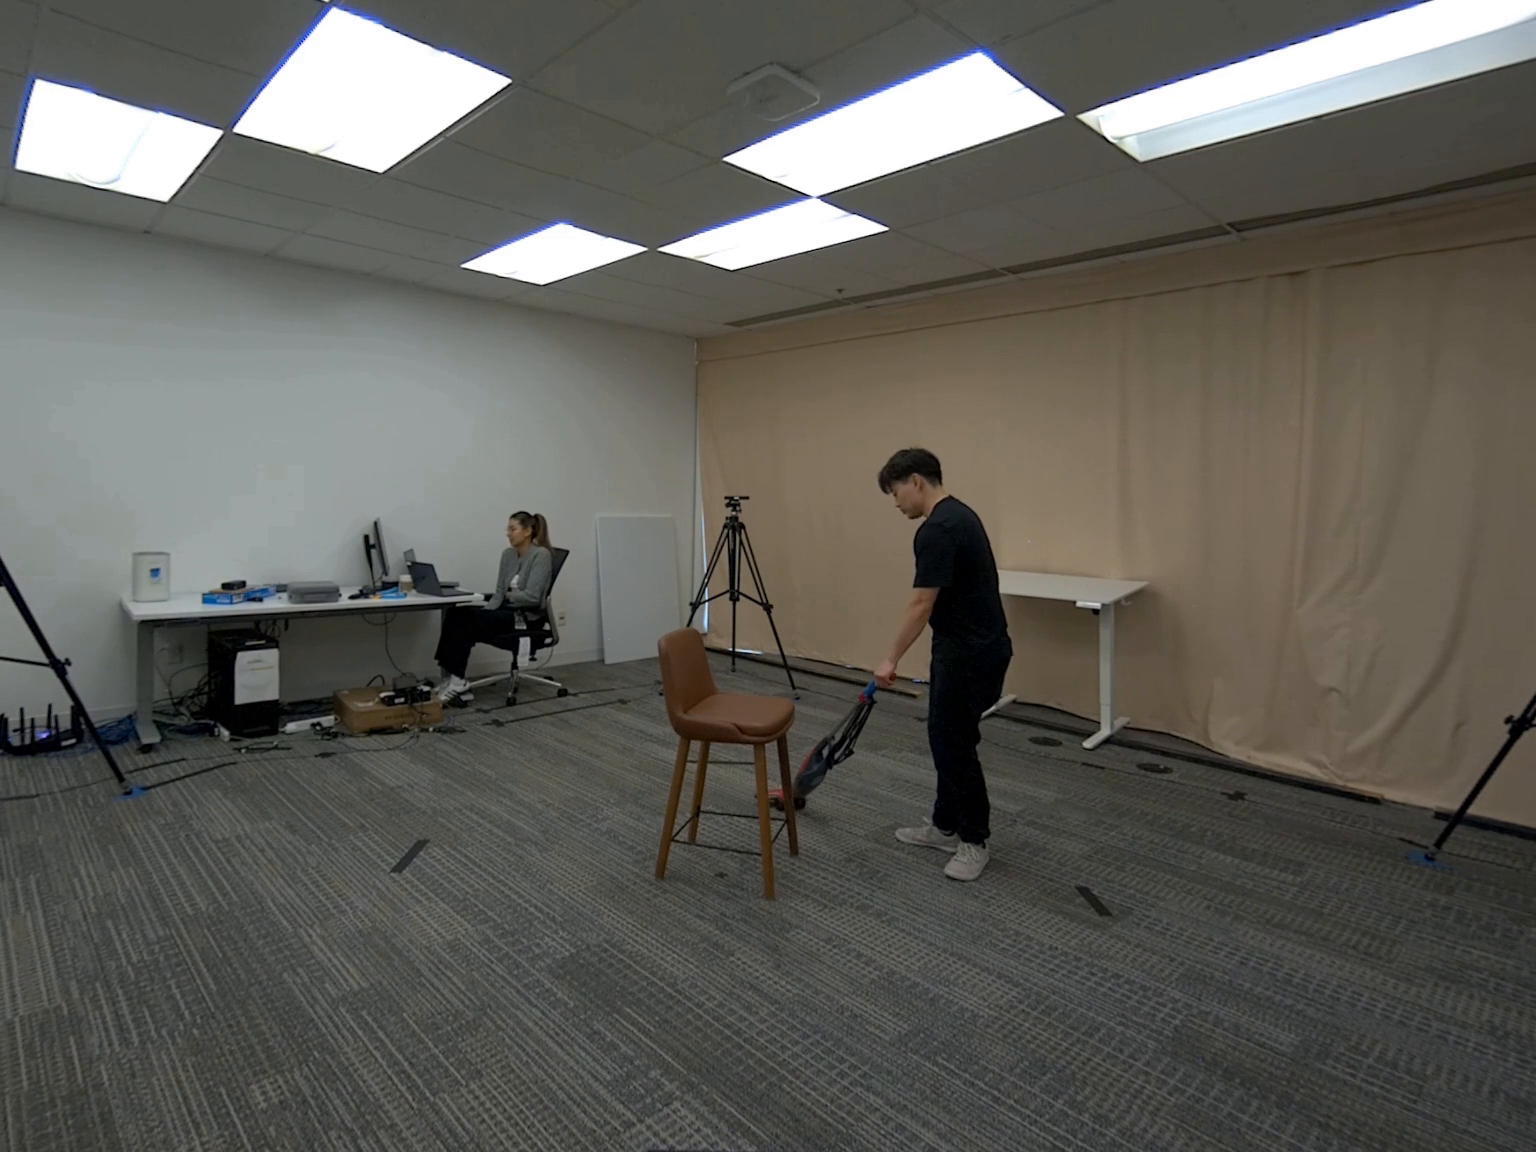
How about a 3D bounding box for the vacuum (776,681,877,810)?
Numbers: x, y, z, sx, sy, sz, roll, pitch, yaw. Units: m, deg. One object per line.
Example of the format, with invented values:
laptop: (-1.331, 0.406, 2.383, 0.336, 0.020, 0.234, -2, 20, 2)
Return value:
vacuum: (0.260, 0.703, 3.488, 0.248, 0.148, 1.041, 1, -39, -27)
